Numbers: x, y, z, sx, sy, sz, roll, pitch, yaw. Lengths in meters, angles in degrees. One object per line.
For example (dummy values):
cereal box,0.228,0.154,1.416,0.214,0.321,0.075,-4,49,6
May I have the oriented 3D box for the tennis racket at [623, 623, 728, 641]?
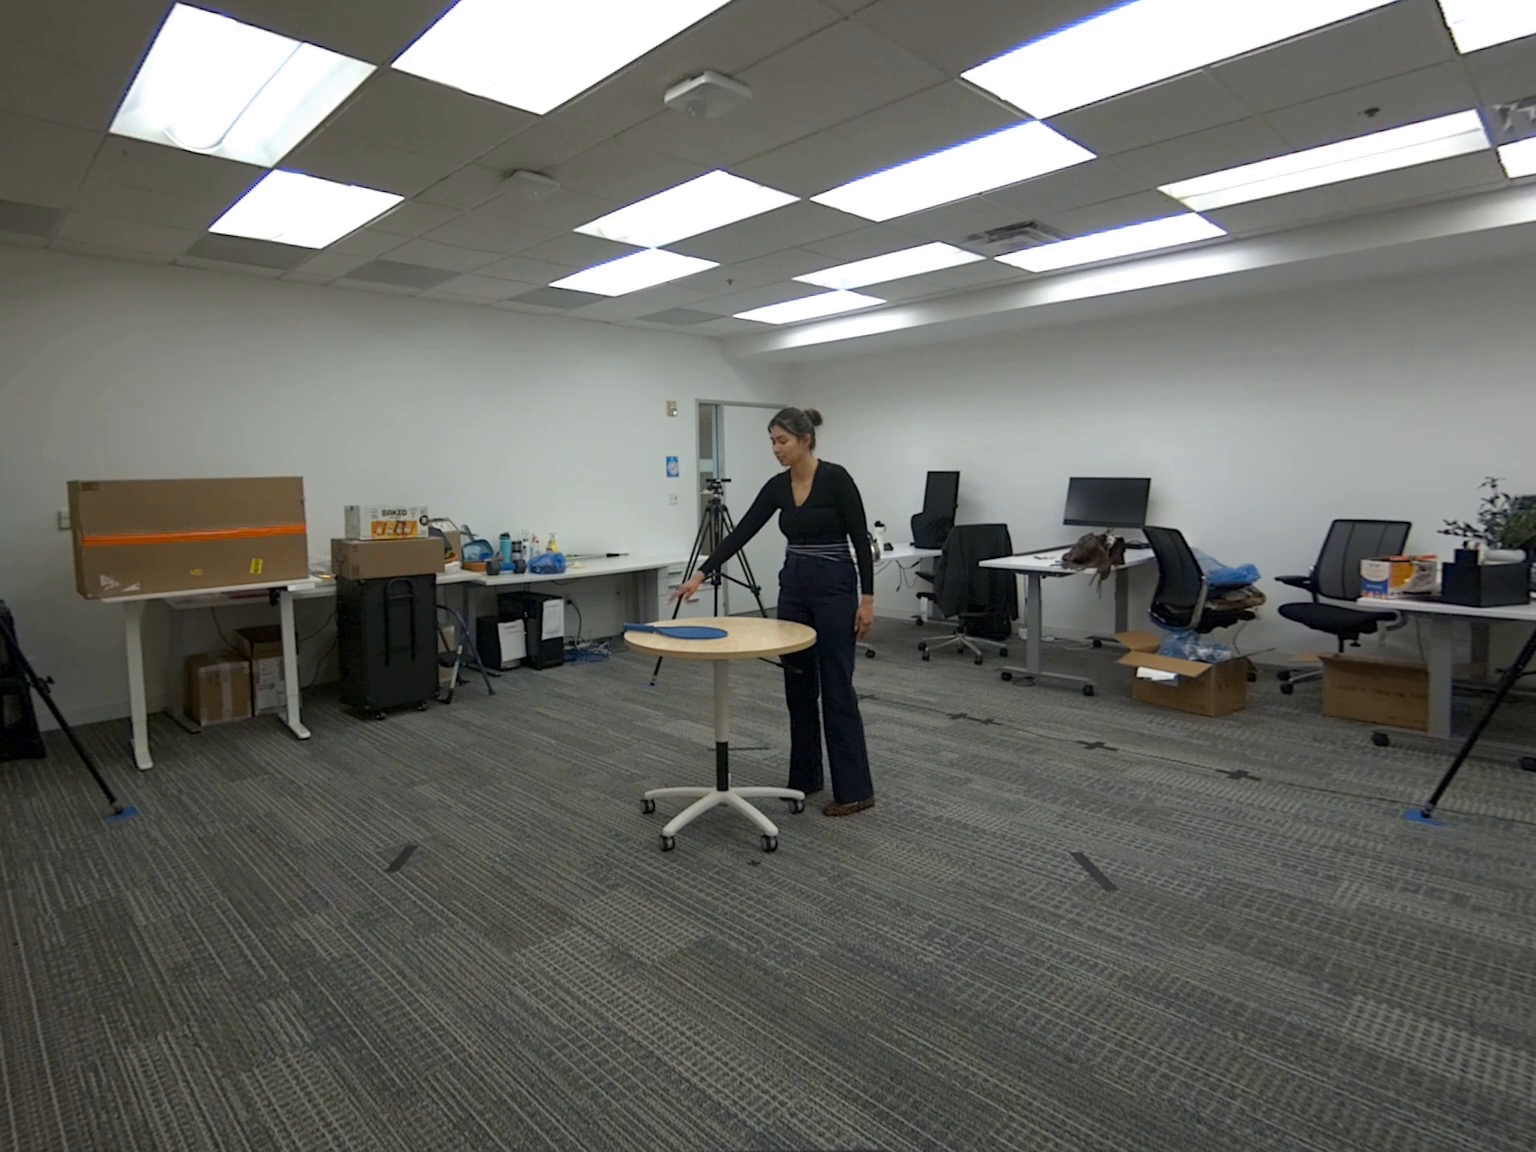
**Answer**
tennis racket,-0.372,0.220,3.405,0.440,0.031,0.211,3,7,17
